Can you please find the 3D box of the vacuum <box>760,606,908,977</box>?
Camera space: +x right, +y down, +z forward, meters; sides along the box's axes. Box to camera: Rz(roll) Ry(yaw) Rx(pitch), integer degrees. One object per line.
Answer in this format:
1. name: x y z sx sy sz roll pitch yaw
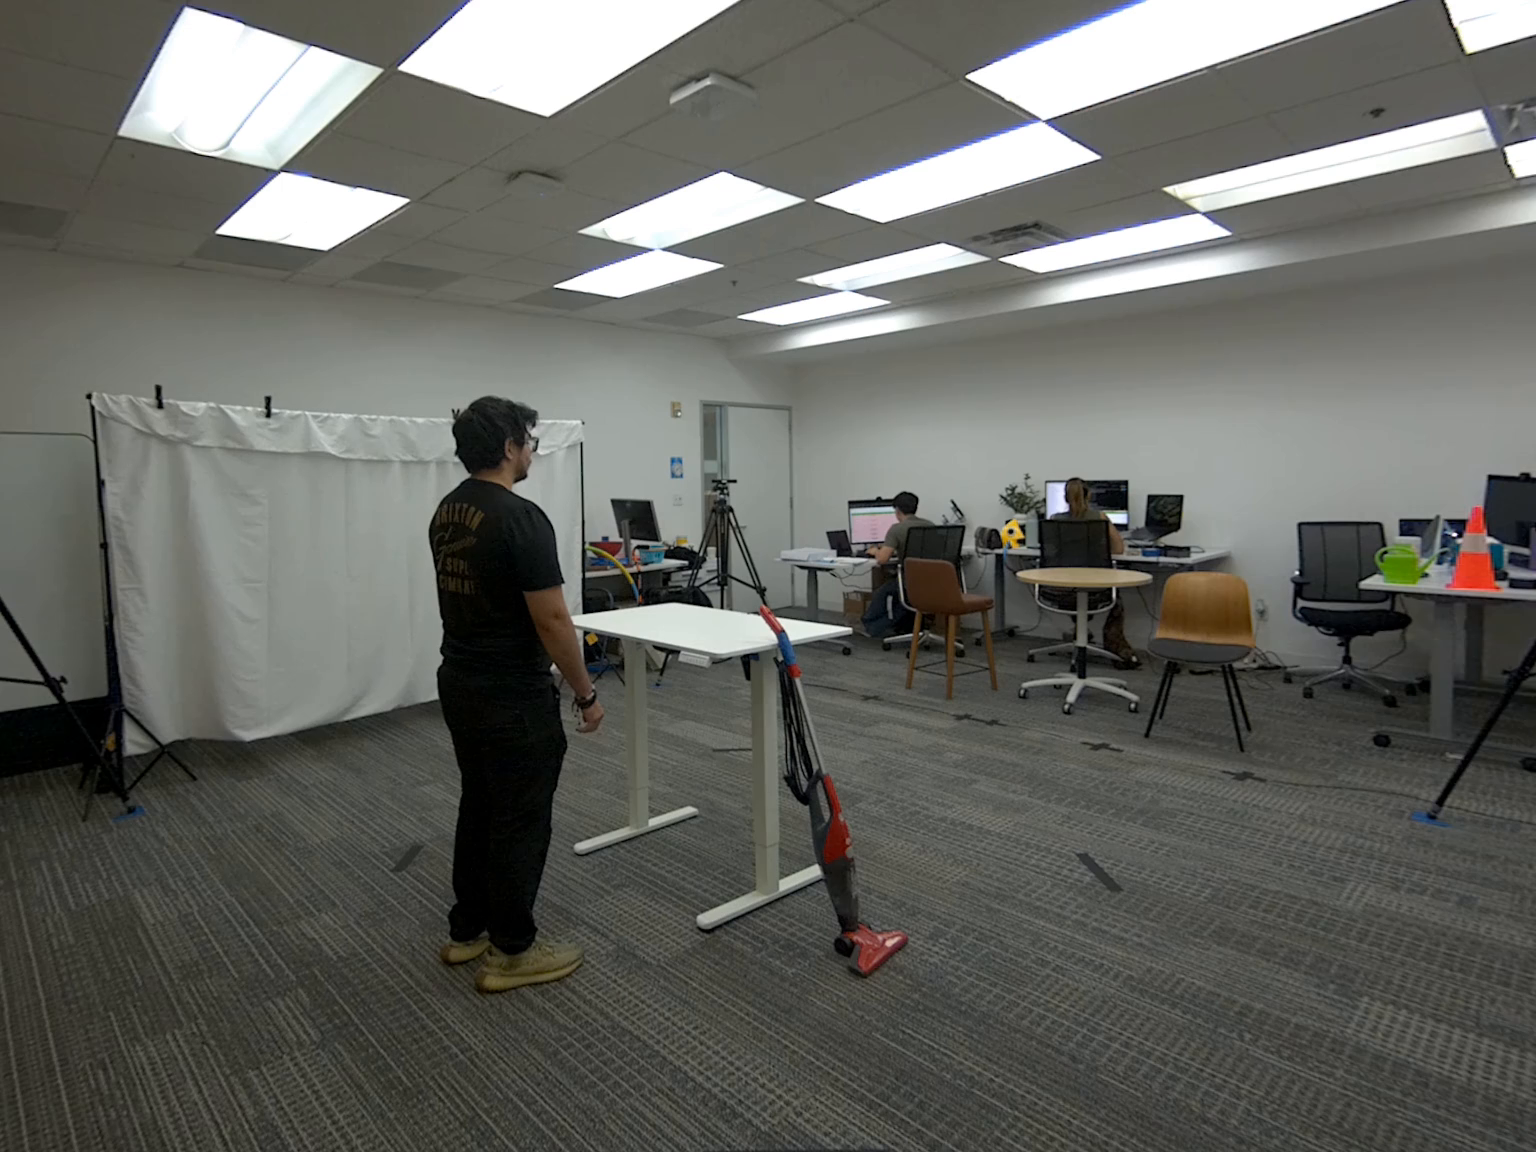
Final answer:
1. vacuum: 0.145 0.605 2.602 0.146 1.060 0.246 -23 -10 37
